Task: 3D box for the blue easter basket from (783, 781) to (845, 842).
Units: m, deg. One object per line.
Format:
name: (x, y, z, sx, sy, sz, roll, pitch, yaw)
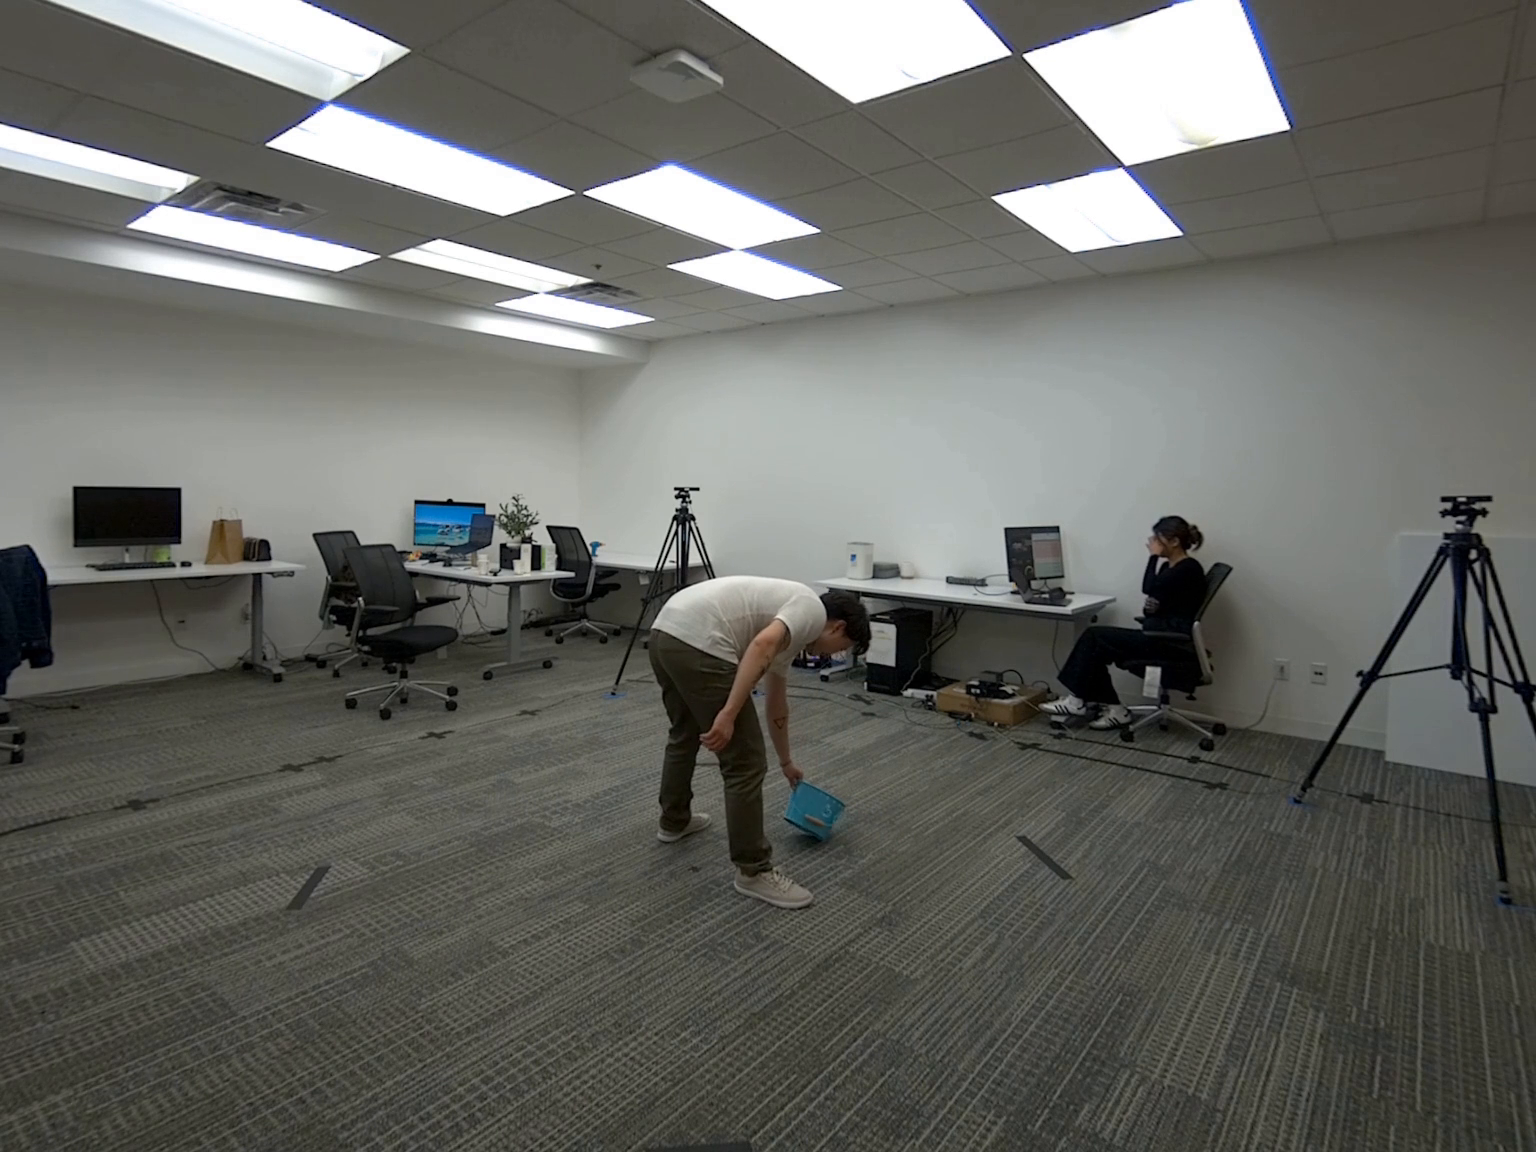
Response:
blue easter basket: (0.171, 0.938, 3.397, 0.246, 0.157, 0.240, 27, -15, 6)
